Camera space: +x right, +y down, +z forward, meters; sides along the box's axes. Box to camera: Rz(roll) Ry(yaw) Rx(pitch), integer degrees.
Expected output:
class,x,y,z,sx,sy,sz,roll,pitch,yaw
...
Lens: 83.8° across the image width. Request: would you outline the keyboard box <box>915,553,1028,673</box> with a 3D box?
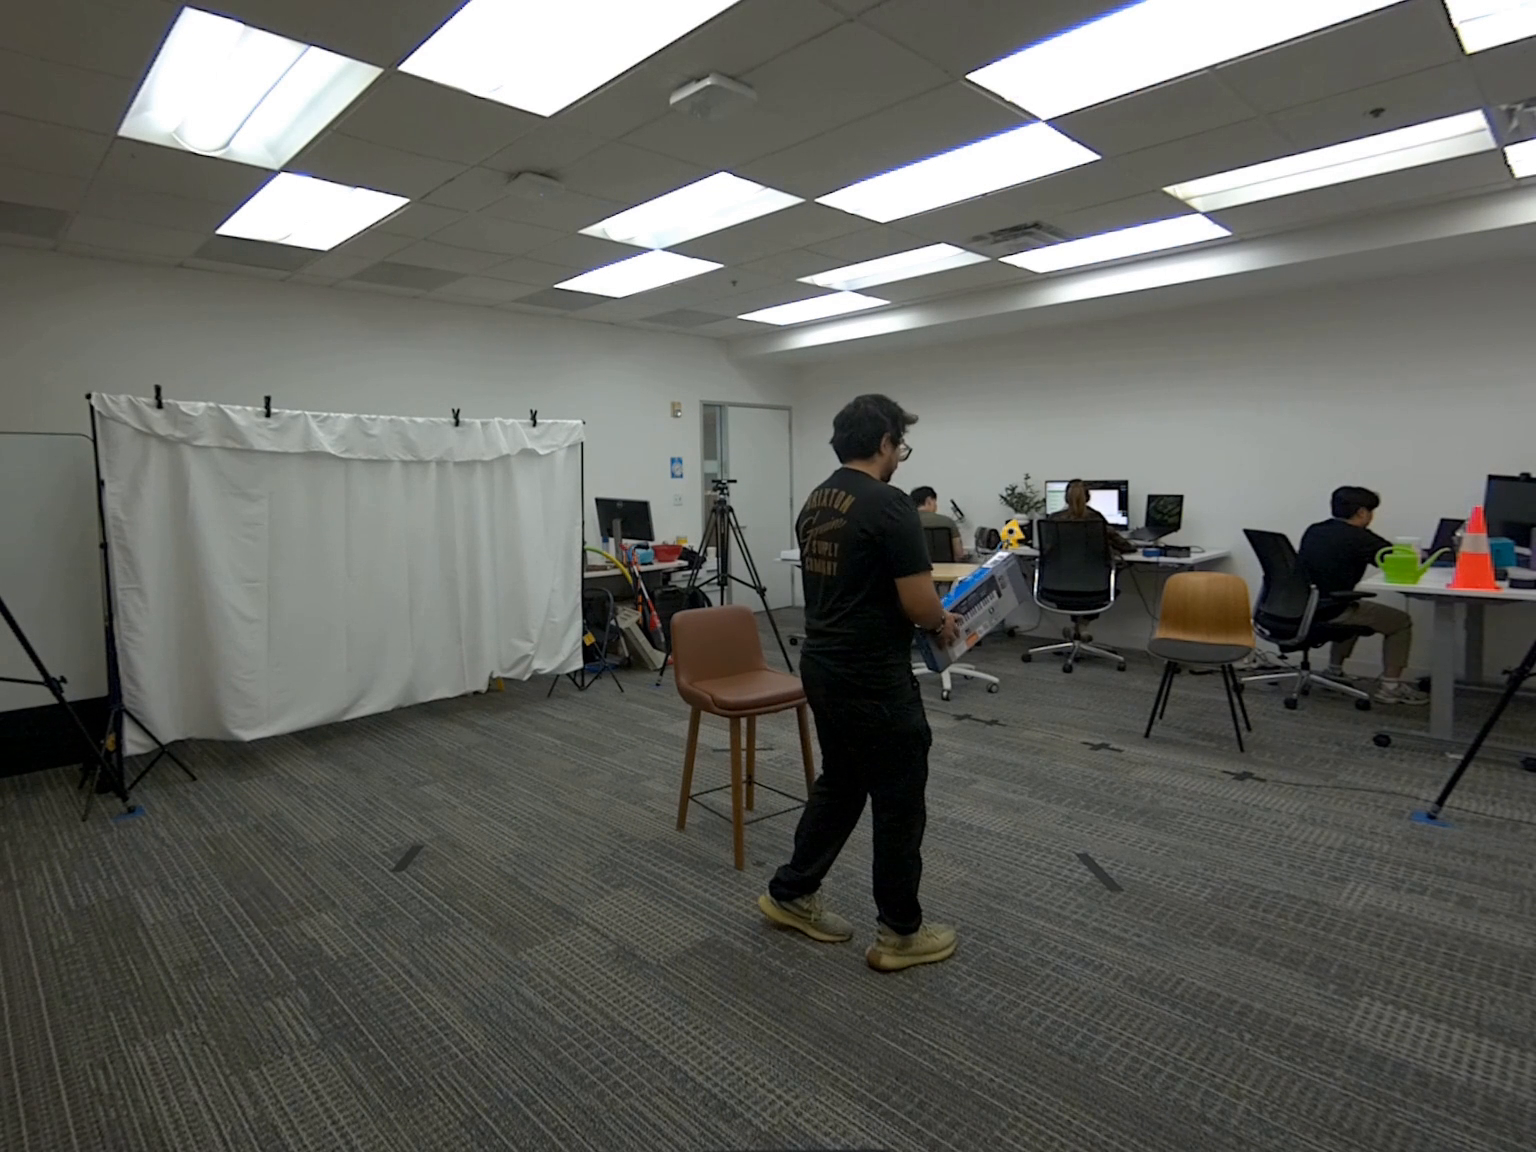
class,x,y,z,sx,sy,sz,roll,pitch,yaw
keyboard box,0.643,0.111,2.679,0.434,0.172,0.061,-36,19,-23
